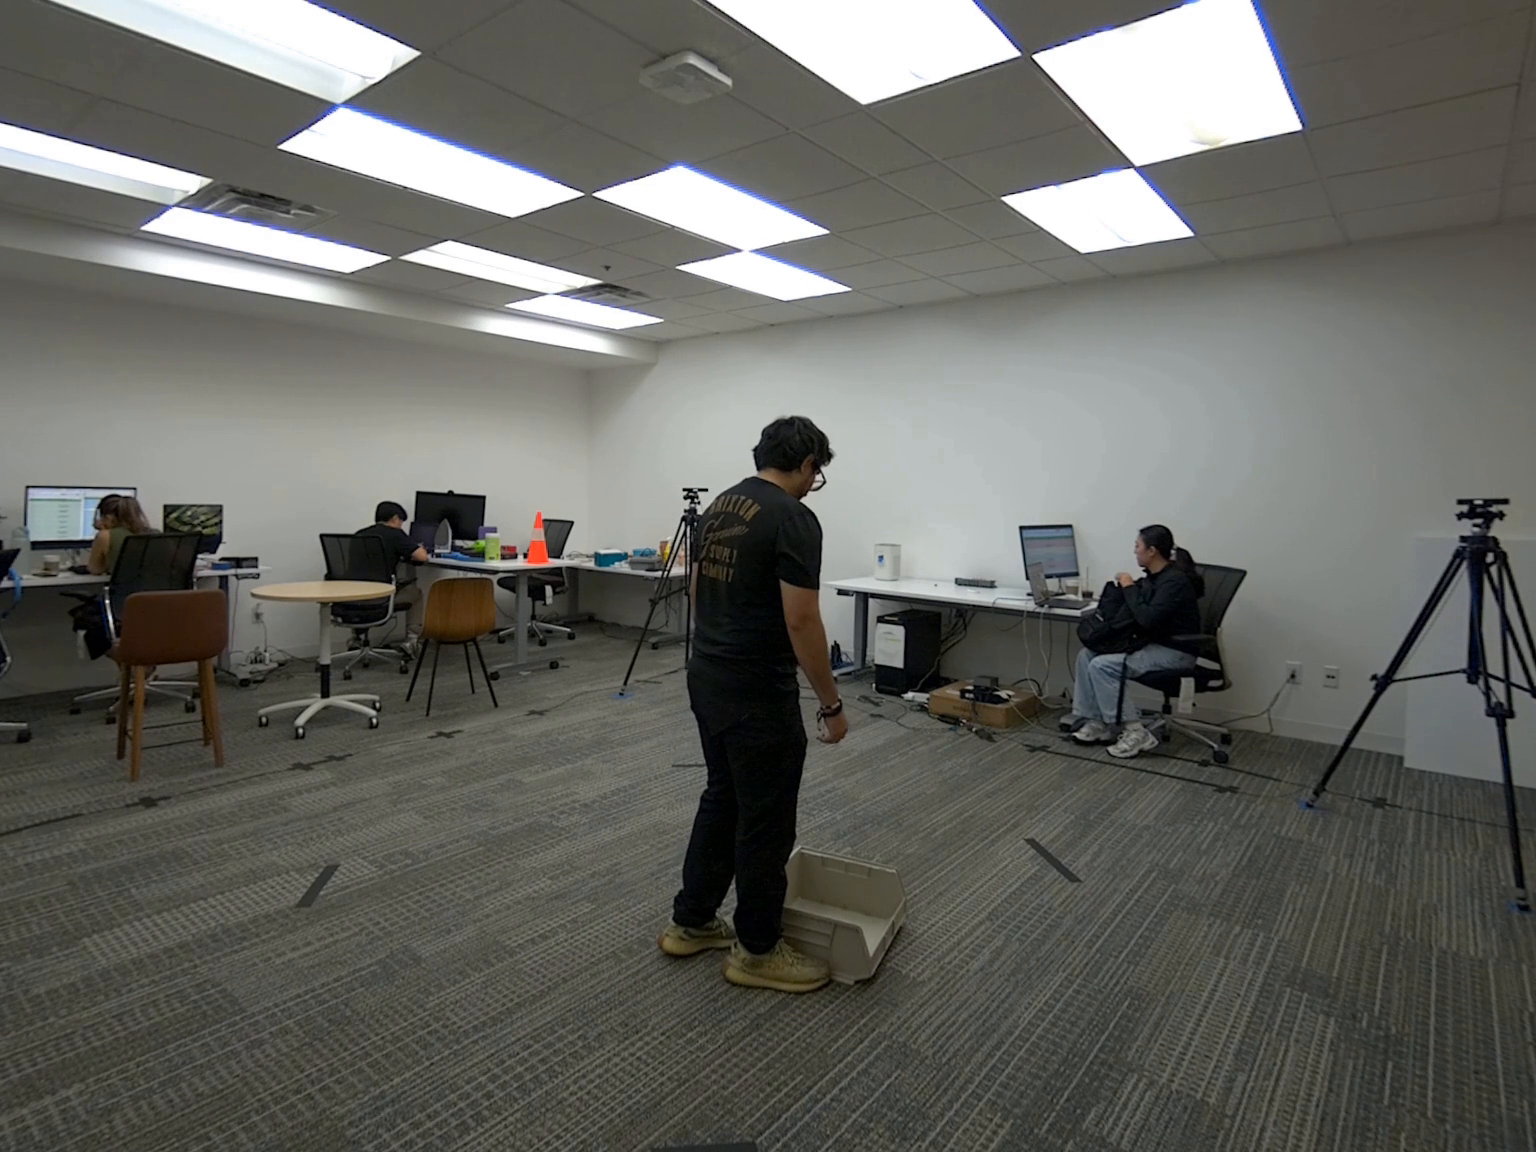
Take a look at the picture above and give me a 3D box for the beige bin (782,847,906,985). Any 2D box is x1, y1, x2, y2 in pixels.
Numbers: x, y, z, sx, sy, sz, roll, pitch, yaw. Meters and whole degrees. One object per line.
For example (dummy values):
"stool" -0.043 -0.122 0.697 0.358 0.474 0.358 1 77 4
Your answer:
"beige bin" 0.194 1.035 2.634 0.387 0.188 0.413 2 5 24
